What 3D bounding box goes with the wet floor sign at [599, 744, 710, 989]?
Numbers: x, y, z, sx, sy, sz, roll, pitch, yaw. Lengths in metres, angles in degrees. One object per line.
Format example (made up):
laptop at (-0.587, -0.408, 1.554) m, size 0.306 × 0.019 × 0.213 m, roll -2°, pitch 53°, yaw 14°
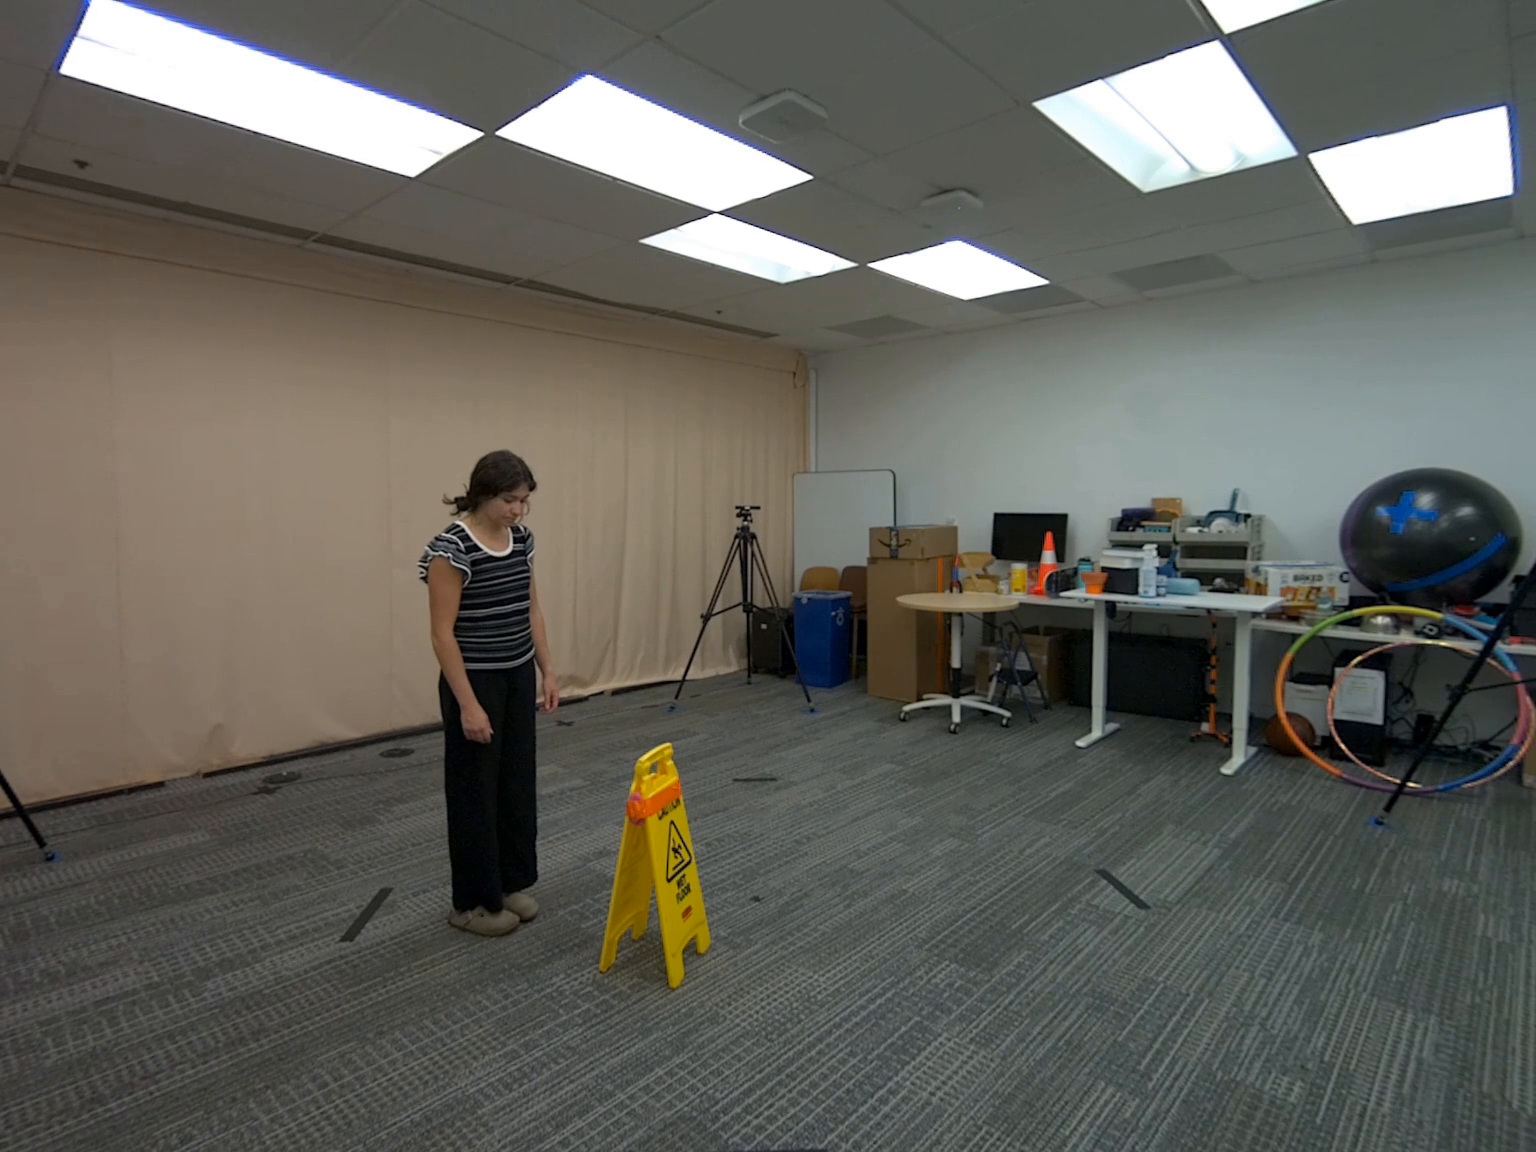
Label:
wet floor sign at (-0.348, 0.858, 2.577) m, size 0.296 × 0.645 × 0.276 m, roll 0°, pitch 2°, yaw 20°
